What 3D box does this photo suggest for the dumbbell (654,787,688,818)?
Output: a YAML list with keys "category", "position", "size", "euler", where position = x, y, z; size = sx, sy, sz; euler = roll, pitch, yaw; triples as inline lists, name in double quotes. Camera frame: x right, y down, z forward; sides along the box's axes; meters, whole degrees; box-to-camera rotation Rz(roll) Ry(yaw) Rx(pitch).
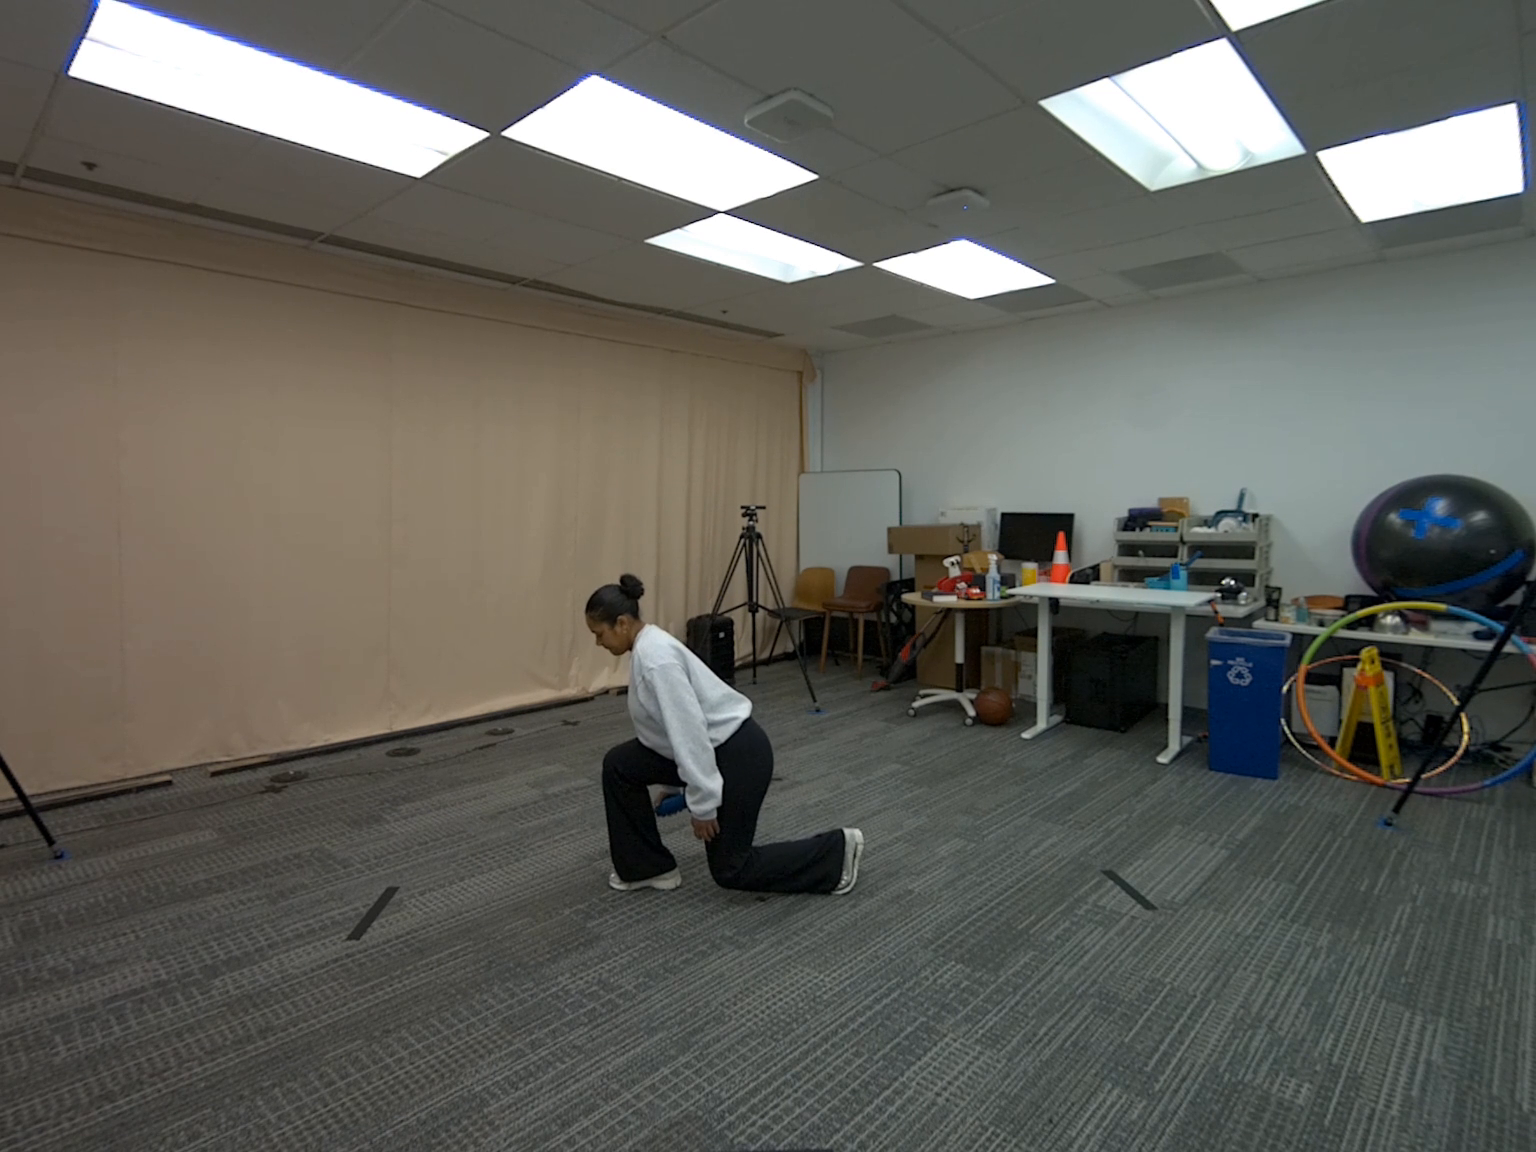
- category: "dumbbell"
  position: [-0.389, 0.891, 3.292]
  size: [0.291, 0.121, 0.111]
  euler: [-13, 25, -10]
